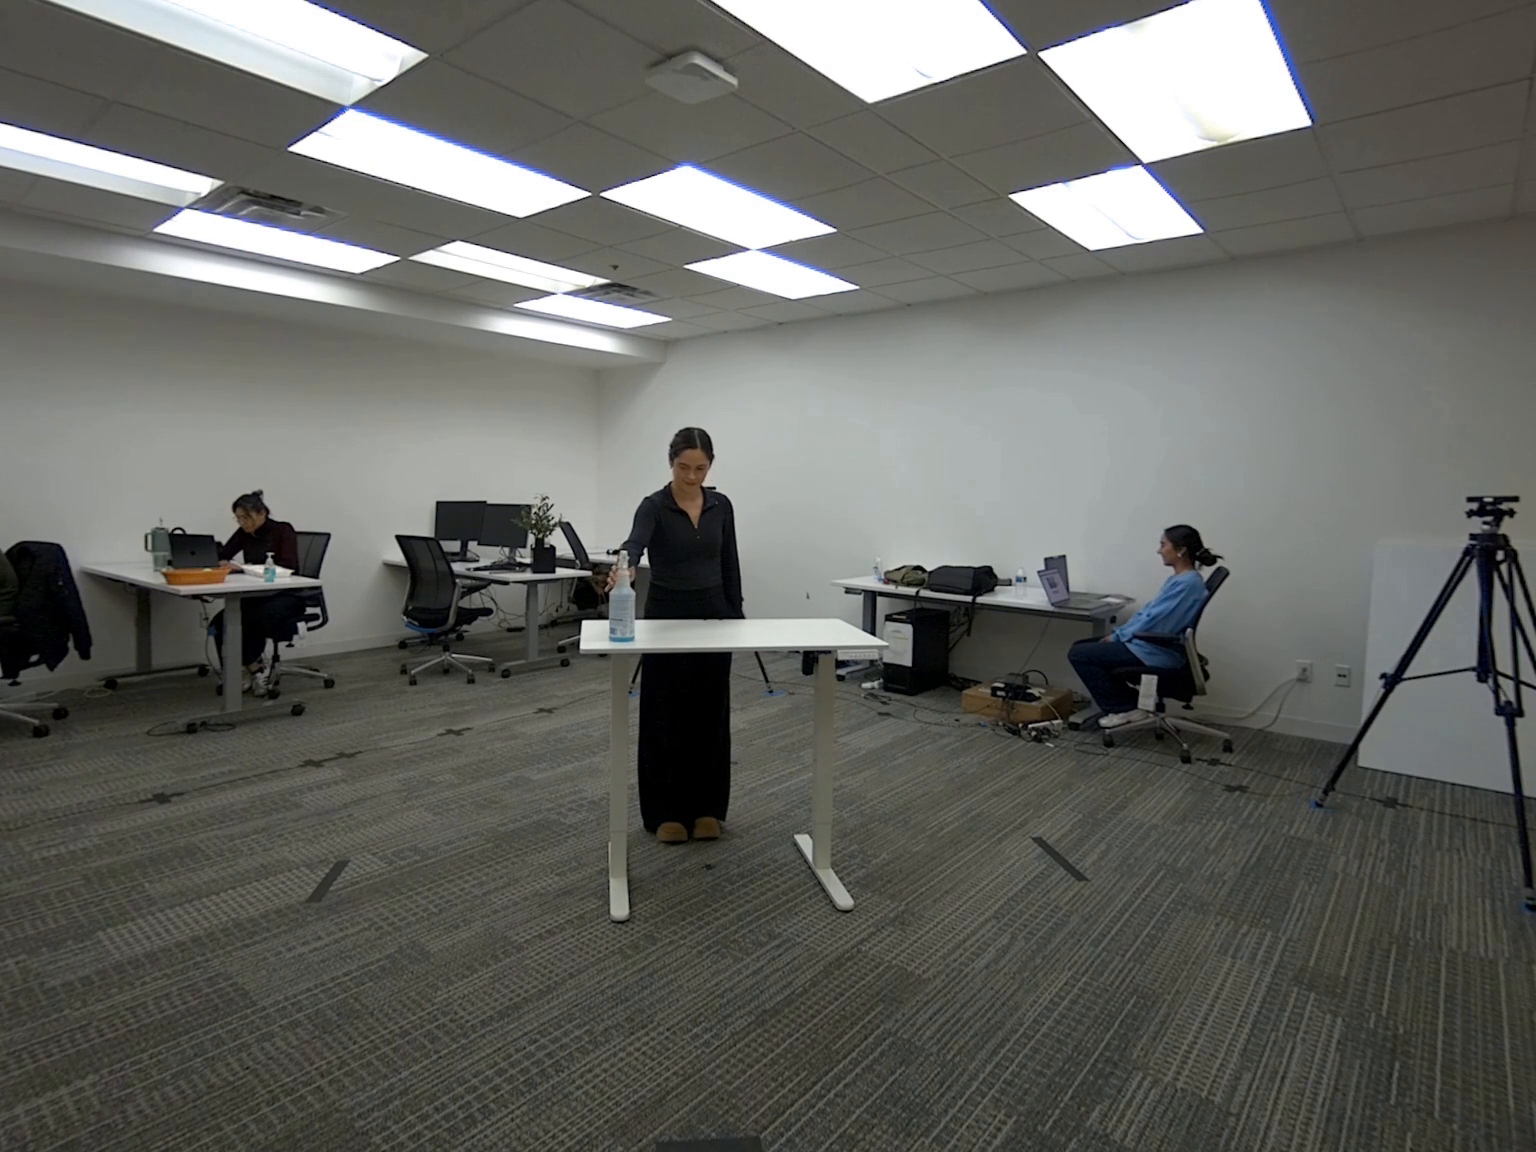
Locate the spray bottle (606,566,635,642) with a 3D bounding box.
[{"bbox_3d":[-0.503,0.065,2.801,0.088,0.297,0.089,1,1,11],"label":"spray bottle"}]
